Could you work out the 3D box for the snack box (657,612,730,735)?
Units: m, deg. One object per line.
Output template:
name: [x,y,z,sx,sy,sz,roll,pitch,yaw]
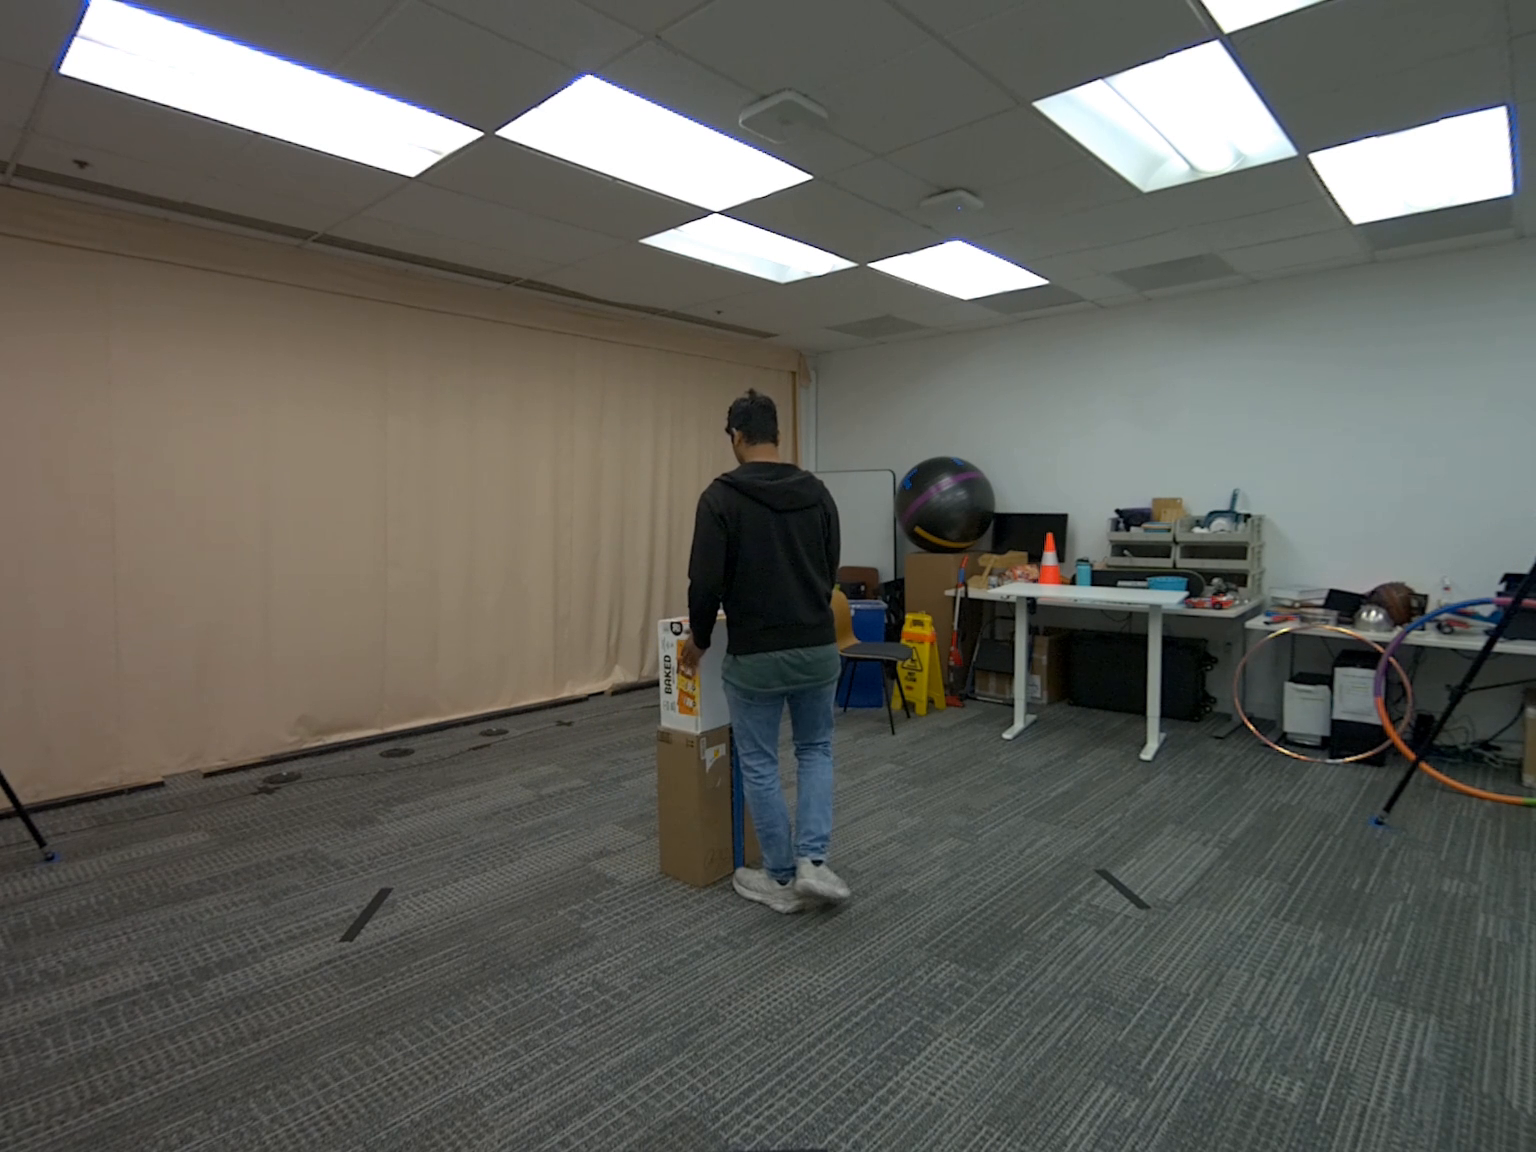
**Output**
snack box: [-0.221,0.357,3.237,0.212,0.405,0.330,-1,2,41]
